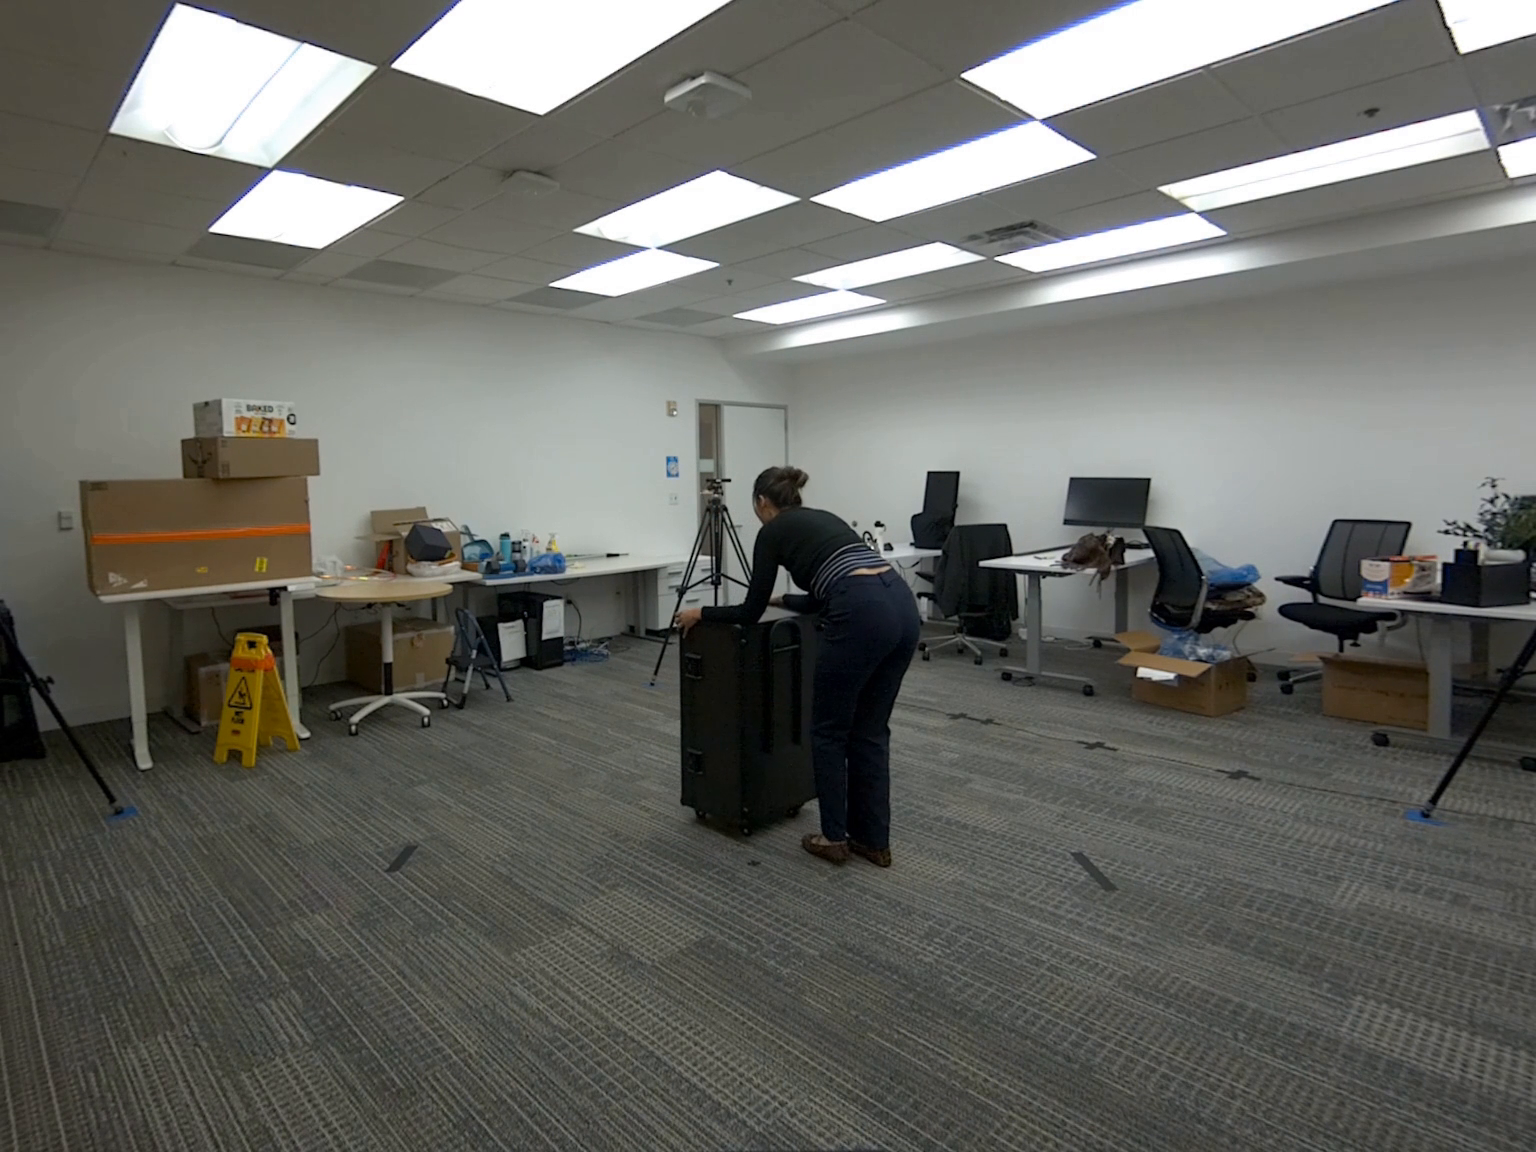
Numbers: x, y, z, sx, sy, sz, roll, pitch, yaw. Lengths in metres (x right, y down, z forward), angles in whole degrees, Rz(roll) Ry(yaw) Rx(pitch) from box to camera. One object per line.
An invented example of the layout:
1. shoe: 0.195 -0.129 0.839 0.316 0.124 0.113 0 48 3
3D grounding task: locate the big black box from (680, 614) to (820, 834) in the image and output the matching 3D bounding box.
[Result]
1. big black box: -0.058 0.574 3.507 0.507 0.857 0.409 -5 8 -44
